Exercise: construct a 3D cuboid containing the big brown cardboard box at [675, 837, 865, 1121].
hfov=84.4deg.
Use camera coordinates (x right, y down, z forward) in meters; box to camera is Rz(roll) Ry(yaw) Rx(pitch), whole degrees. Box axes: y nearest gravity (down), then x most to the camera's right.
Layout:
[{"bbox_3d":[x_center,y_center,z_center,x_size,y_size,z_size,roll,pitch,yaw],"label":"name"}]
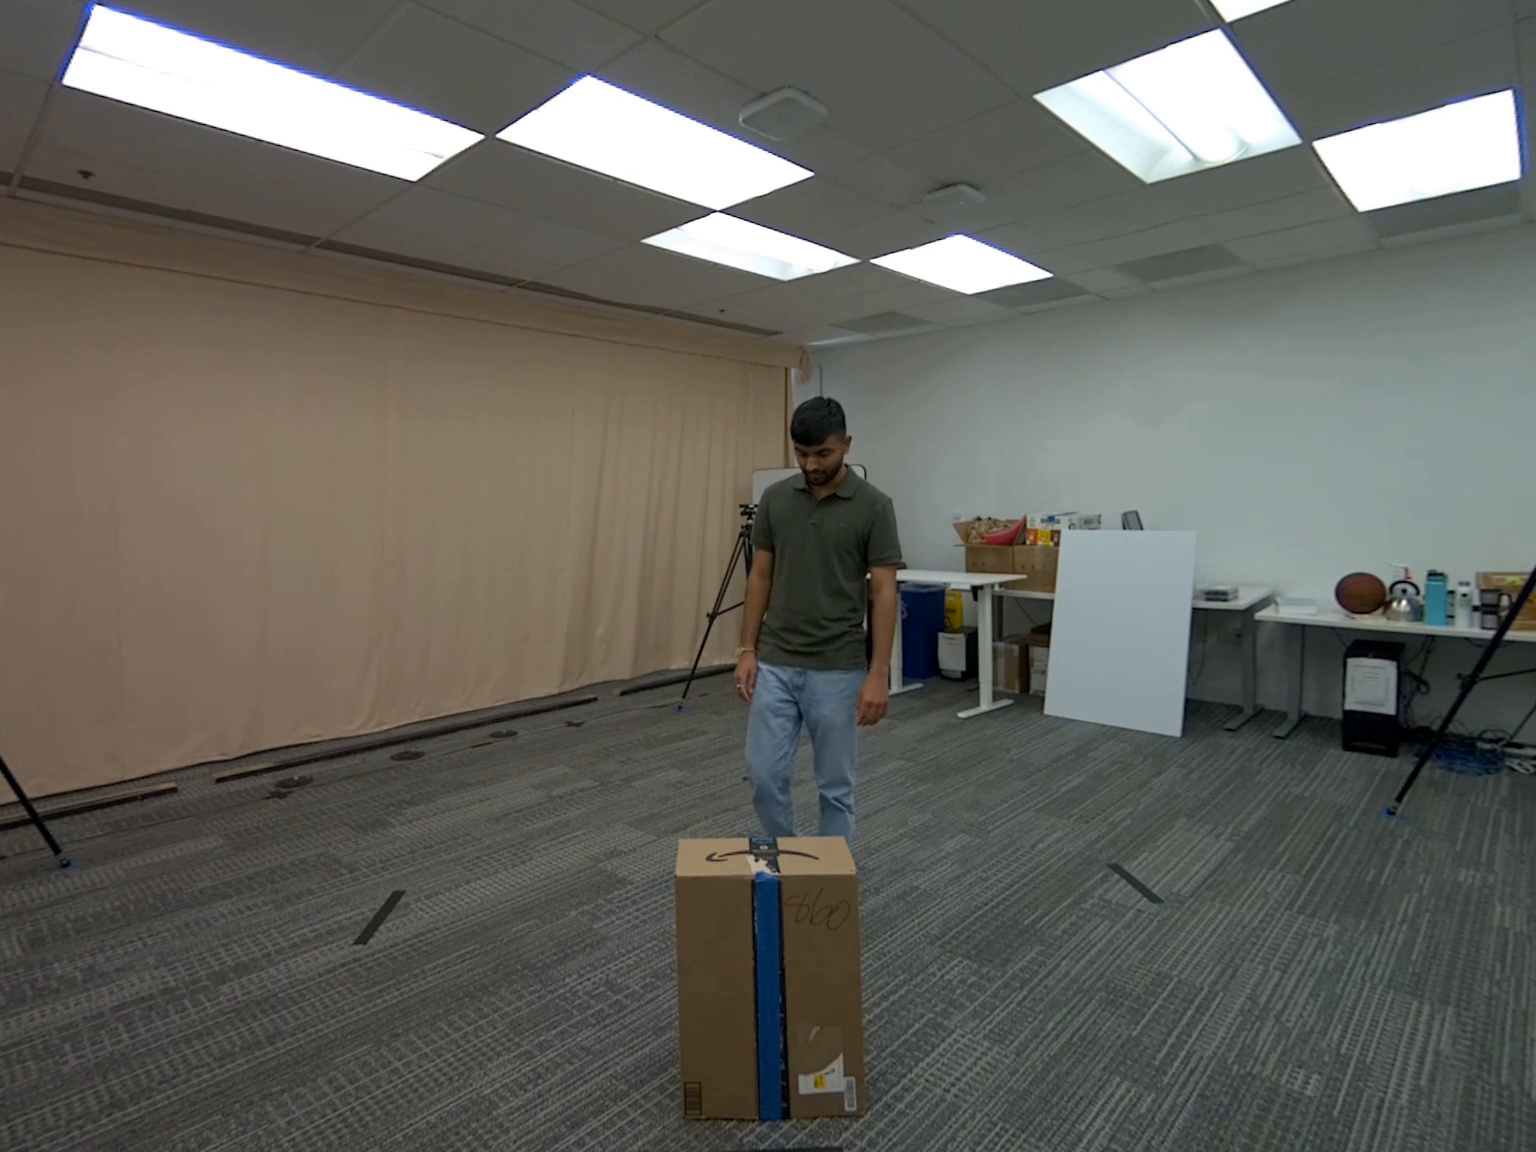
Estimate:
[{"bbox_3d":[-0.002,0.945,1.998,0.418,0.588,0.233,-2,2,0],"label":"big brown cardboard box"}]
